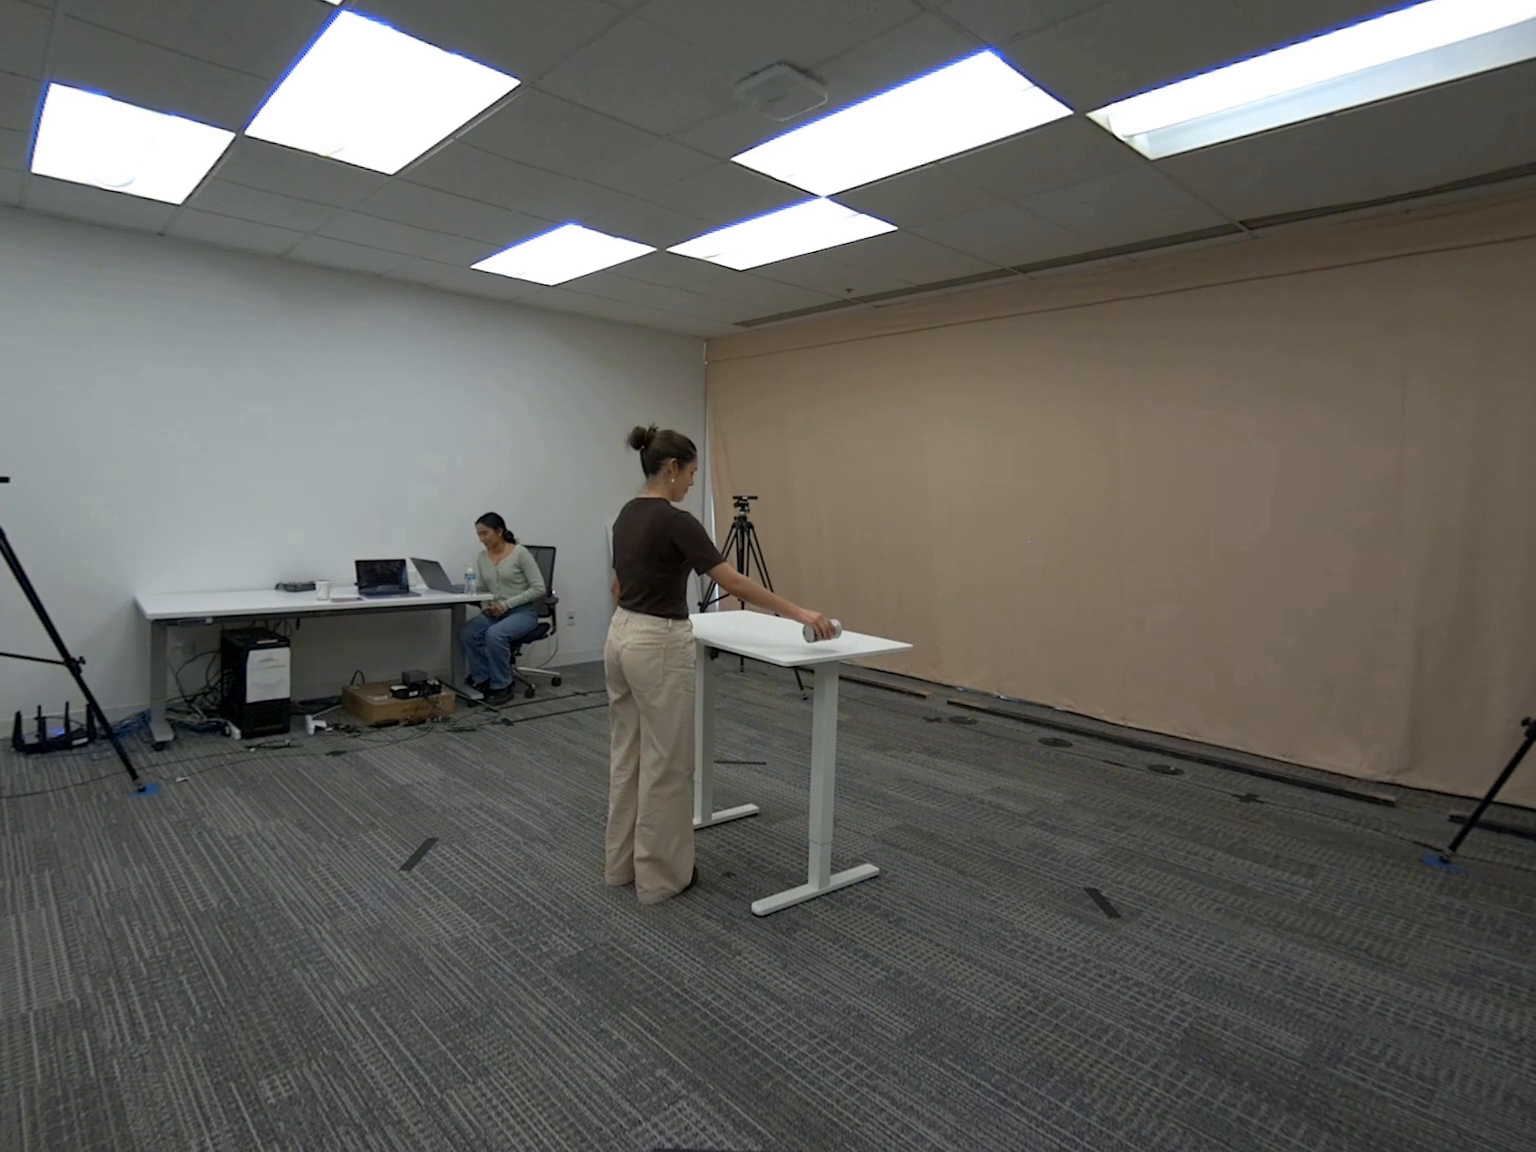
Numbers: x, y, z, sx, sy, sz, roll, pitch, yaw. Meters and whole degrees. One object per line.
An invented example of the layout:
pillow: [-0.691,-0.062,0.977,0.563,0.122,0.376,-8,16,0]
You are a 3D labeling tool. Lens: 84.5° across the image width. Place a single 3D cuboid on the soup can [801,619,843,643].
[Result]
soup can: [0.169,0.183,2.844,0.121,0.067,0.067,-4,5,-3]
